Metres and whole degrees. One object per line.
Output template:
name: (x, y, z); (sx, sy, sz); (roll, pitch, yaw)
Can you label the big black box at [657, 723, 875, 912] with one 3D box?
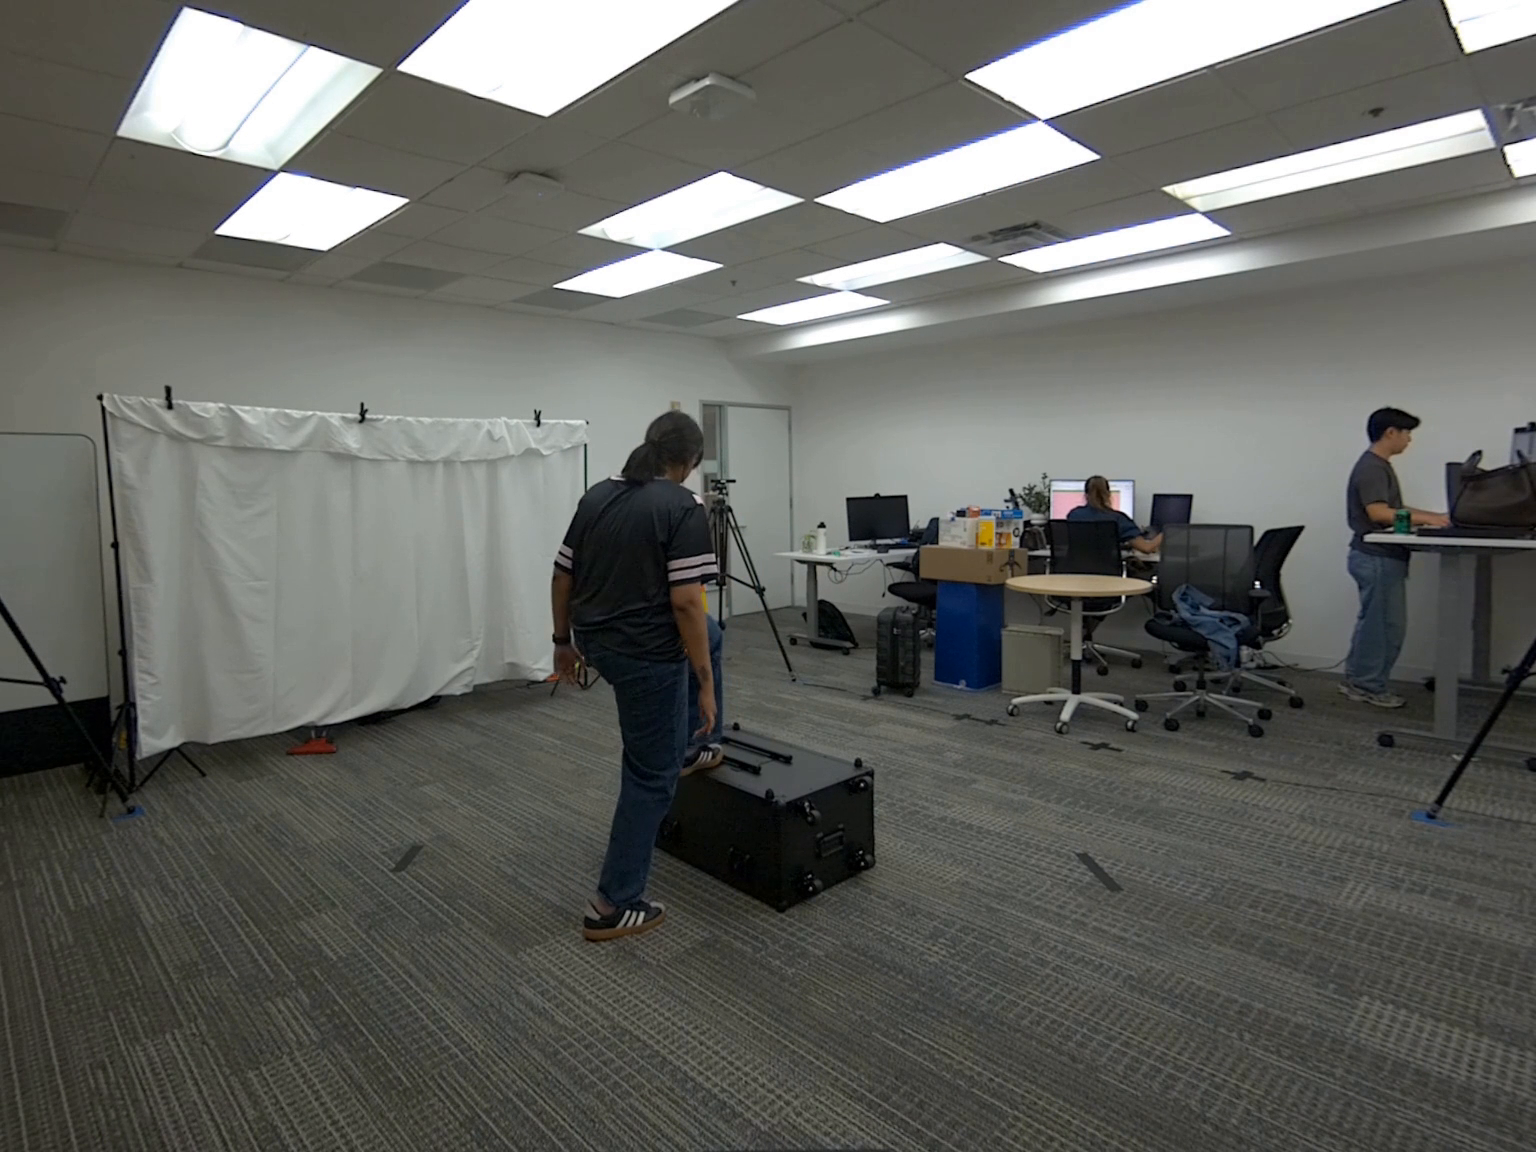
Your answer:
big black box: (-0.031, 0.855, 3.169); (0.509, 0.384, 0.895); (-4, 6, -43)
